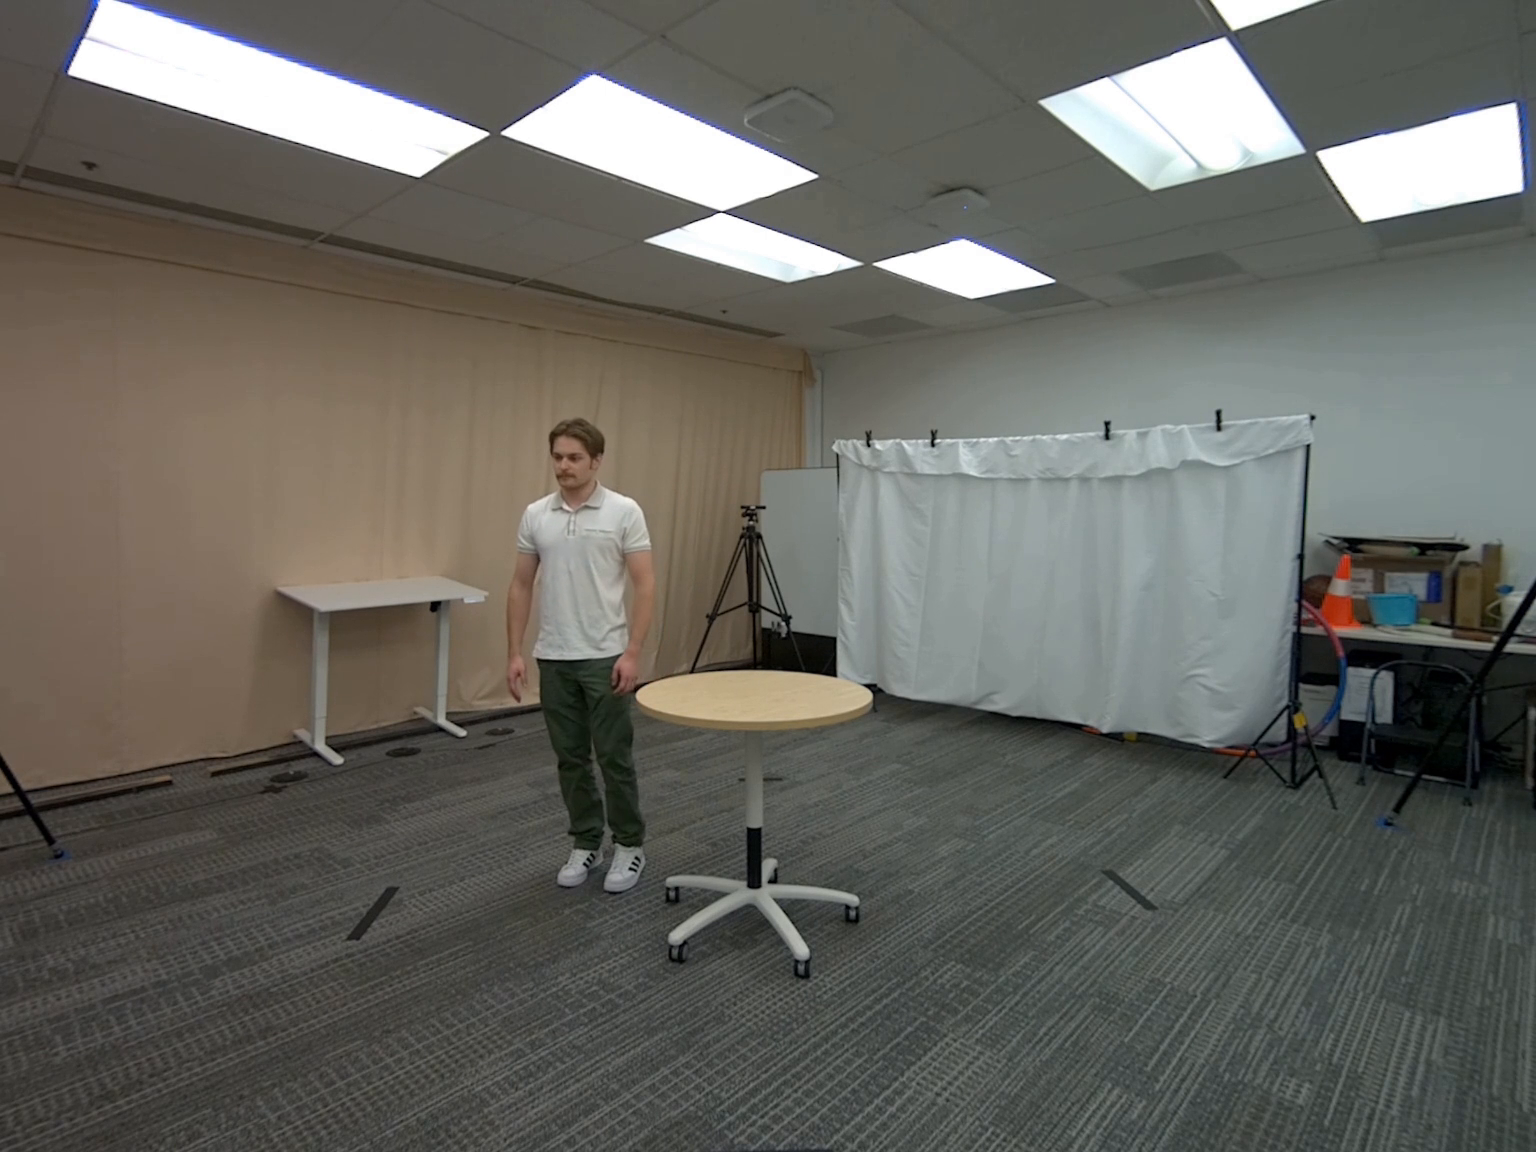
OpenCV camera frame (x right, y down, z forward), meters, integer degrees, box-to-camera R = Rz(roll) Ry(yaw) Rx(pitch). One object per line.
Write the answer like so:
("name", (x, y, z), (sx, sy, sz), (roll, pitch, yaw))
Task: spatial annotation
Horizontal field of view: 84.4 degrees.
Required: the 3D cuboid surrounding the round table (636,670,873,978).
("round table", (-0.040, 0.771, 2.749), (0.784, 0.785, 0.787), (-1, 3, -2))
